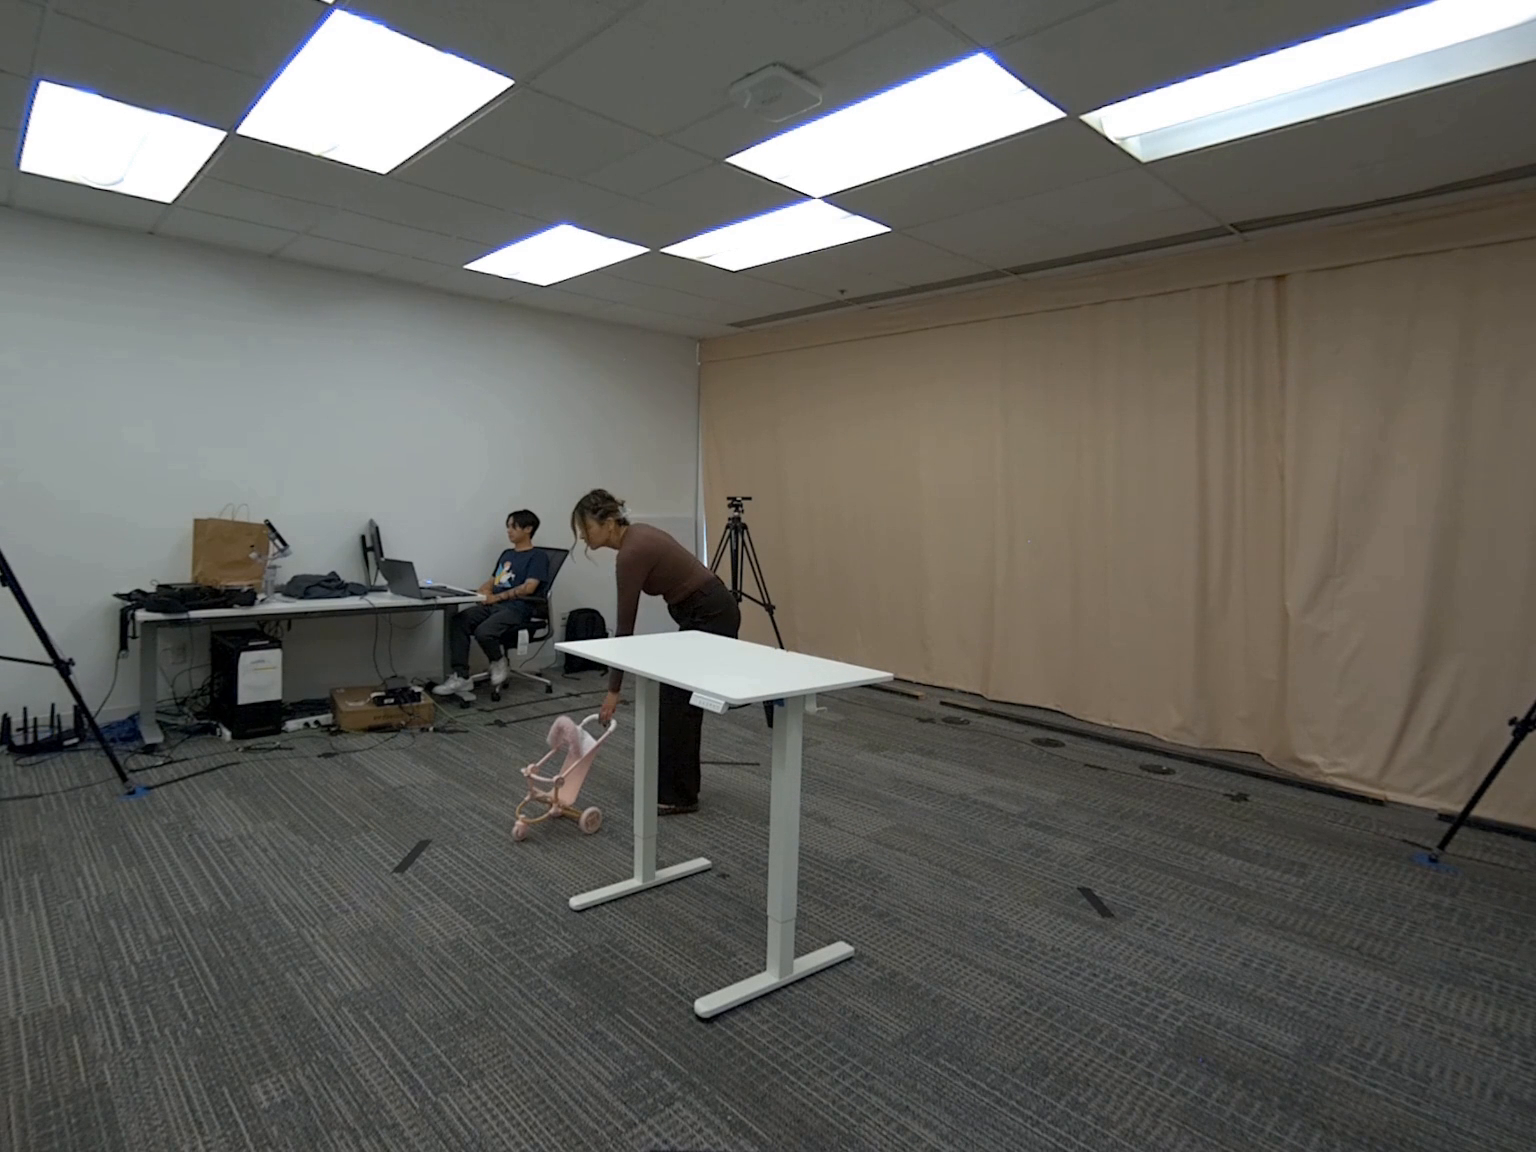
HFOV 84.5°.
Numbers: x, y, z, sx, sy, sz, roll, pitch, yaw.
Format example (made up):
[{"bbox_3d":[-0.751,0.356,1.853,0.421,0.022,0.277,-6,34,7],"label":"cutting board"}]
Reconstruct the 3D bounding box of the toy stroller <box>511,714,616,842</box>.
[{"bbox_3d":[-0.867,0.828,3.498,0.331,0.537,0.288,19,-9,-41],"label":"toy stroller"}]
